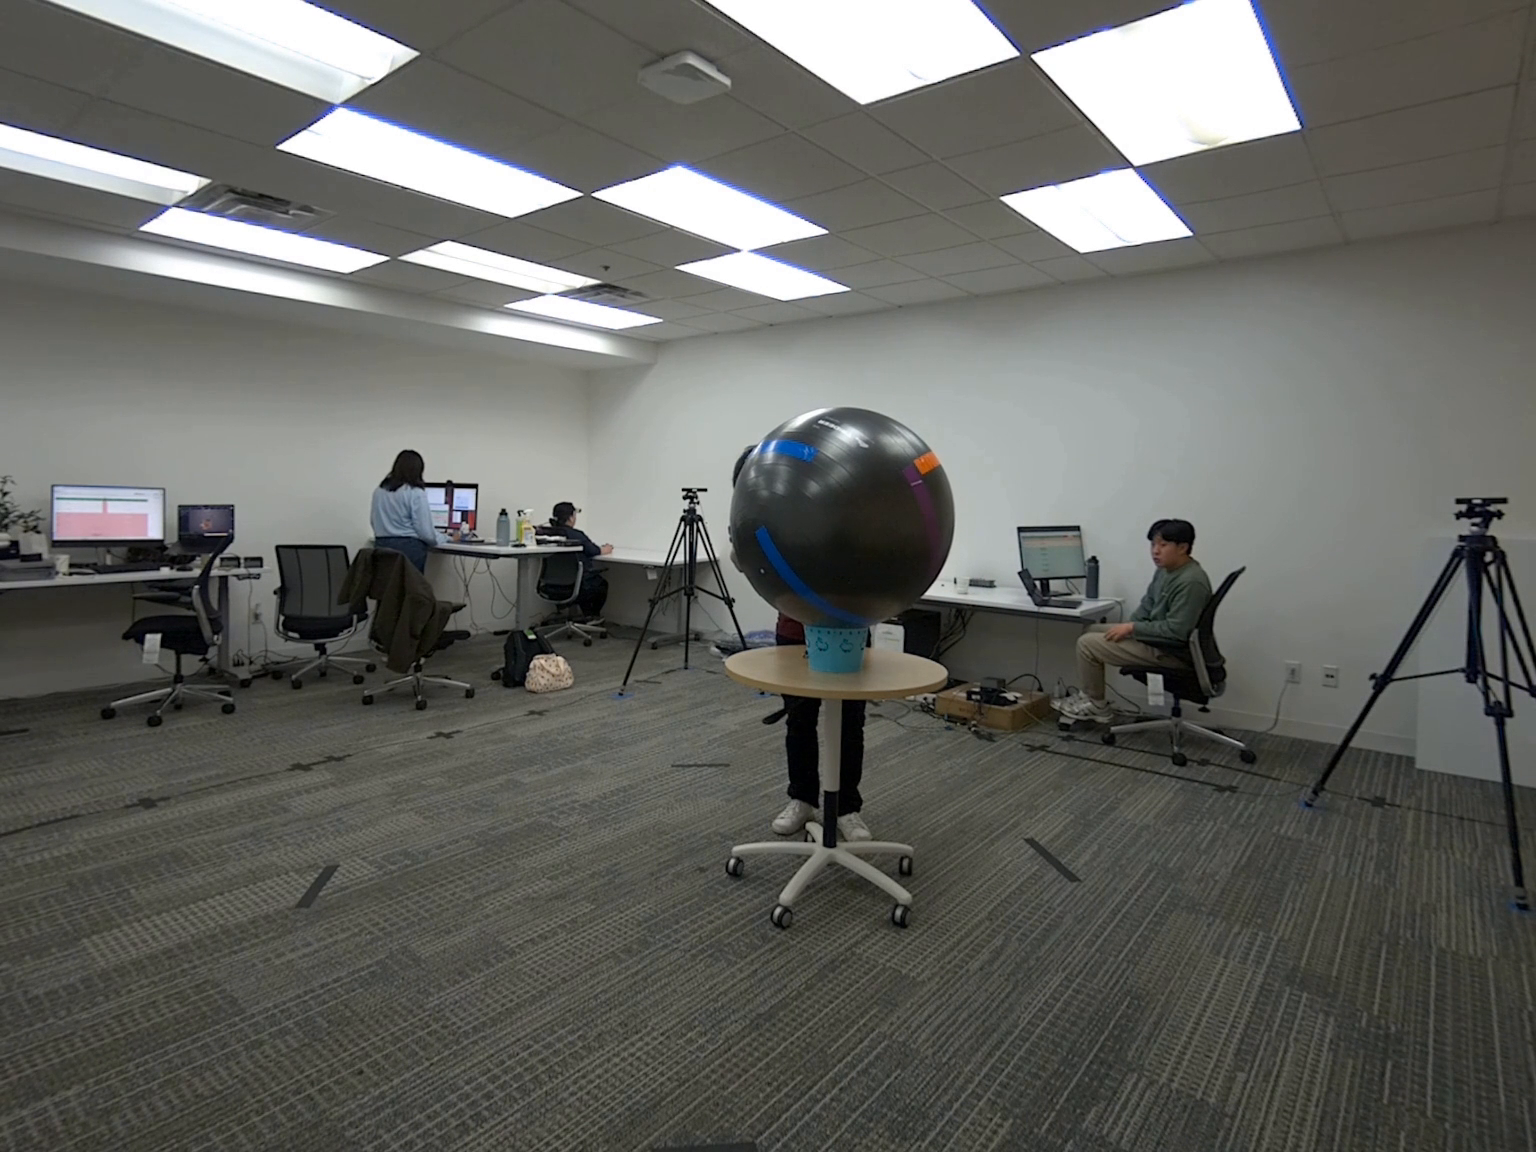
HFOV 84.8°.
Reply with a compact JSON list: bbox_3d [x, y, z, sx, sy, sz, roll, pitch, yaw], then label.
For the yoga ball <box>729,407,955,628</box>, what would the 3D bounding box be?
[{"bbox_3d":[0.242,-0.195,2.906,0.757,0.756,0.761,1,4,-2],"label":"yoga ball"}]
